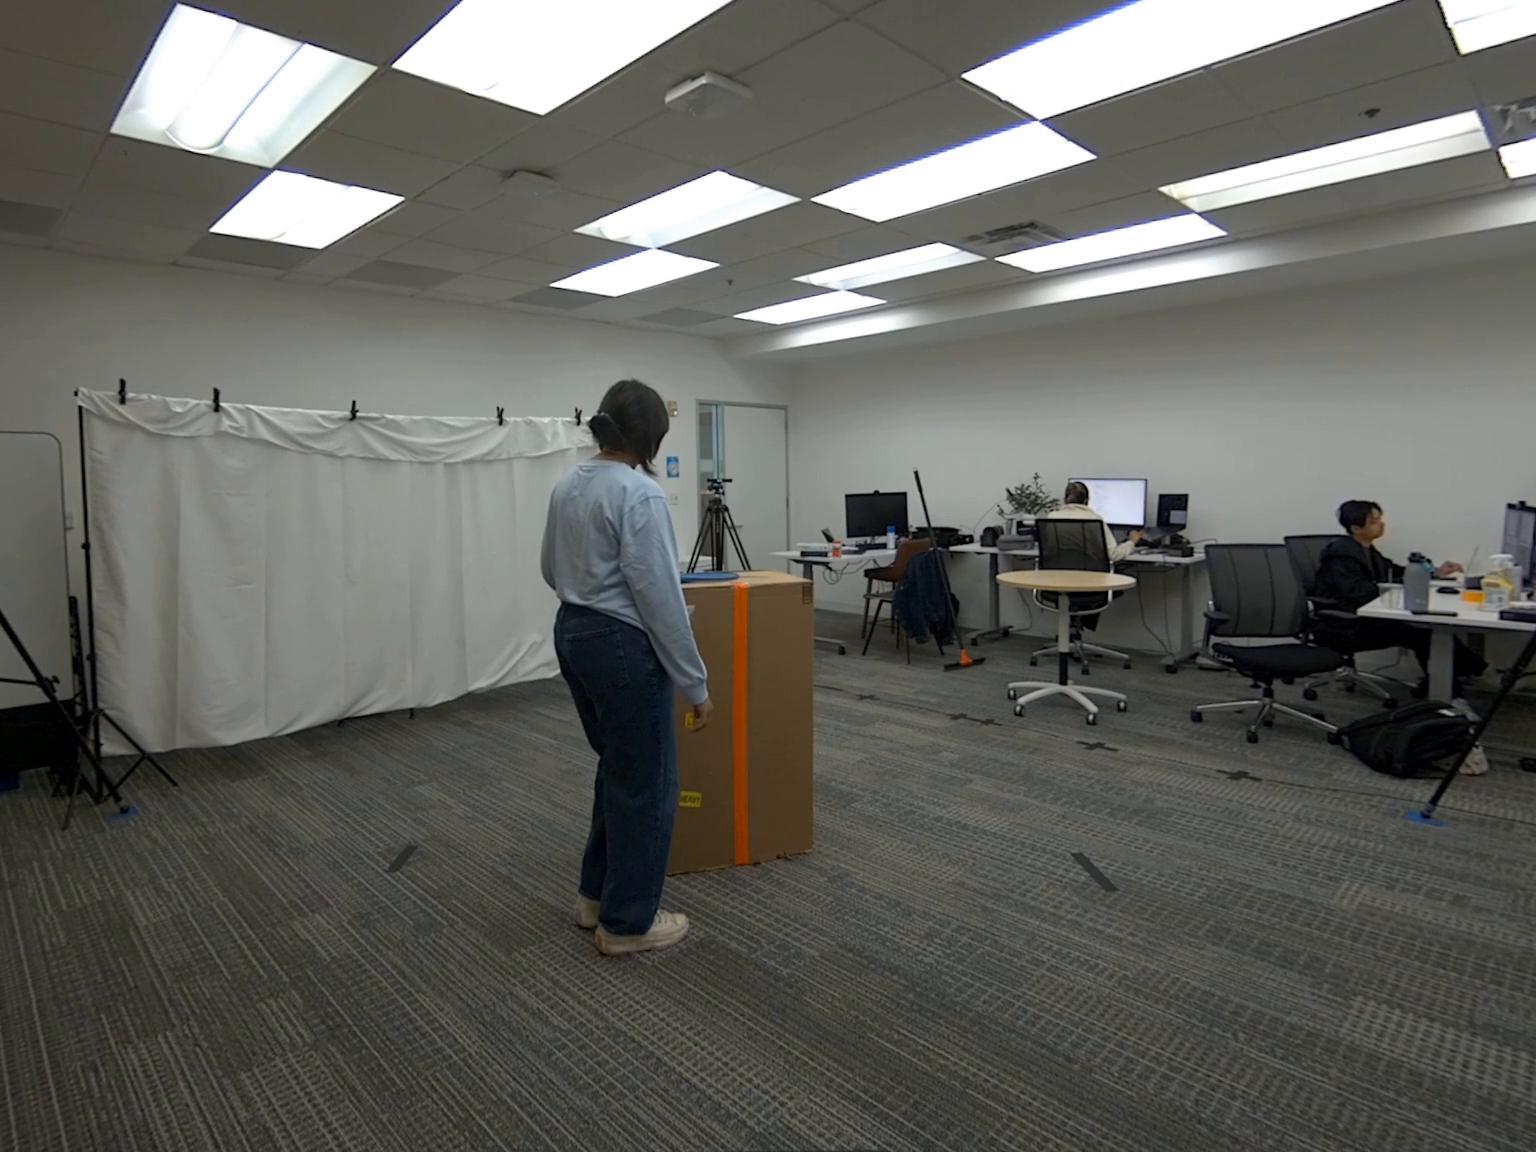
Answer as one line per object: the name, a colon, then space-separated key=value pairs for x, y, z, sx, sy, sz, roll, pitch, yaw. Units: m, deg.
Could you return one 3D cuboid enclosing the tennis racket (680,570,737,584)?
tennis racket: x=-0.257 y=0.008 z=3.173 sx=0.220 sy=0.031 sz=0.422 roll=4 pitch=6 yaw=33
